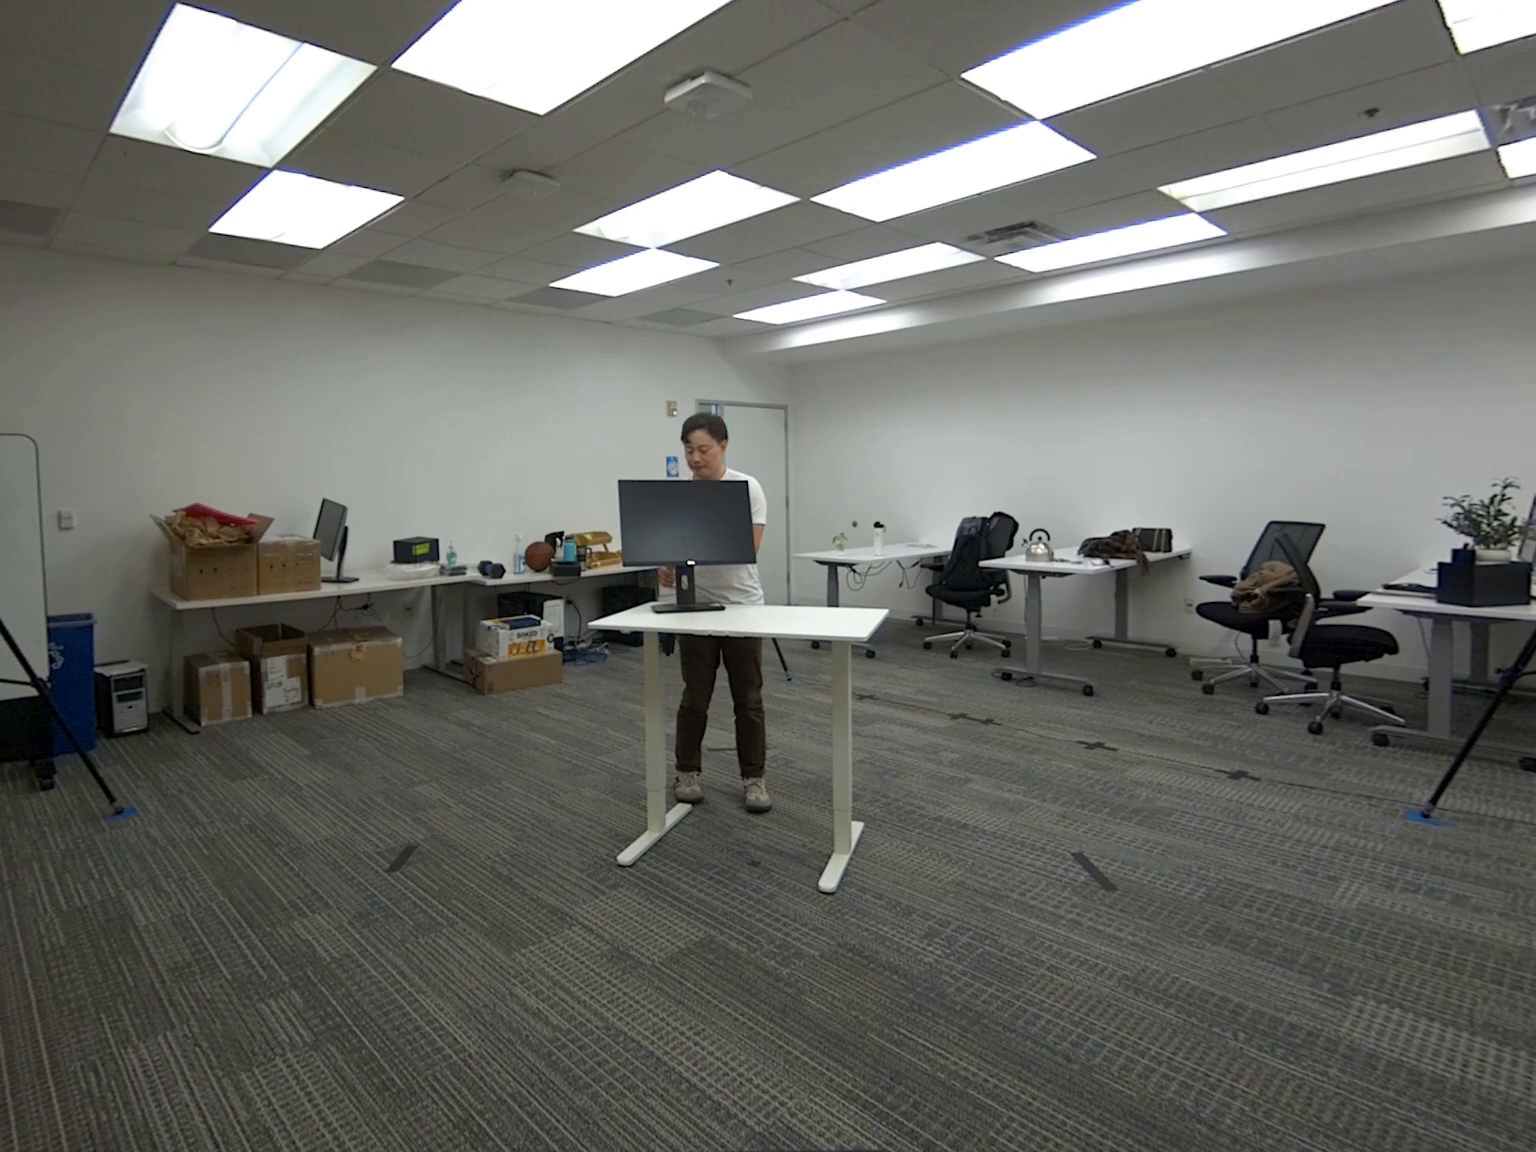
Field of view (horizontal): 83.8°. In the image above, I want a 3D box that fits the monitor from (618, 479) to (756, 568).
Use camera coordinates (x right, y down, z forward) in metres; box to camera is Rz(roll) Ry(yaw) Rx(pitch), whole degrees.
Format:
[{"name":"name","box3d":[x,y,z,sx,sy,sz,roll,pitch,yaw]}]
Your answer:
[{"name":"monitor","box3d":[-0.333,-0.123,3.409,0.530,0.523,0.190,-1,0,-17]}]
